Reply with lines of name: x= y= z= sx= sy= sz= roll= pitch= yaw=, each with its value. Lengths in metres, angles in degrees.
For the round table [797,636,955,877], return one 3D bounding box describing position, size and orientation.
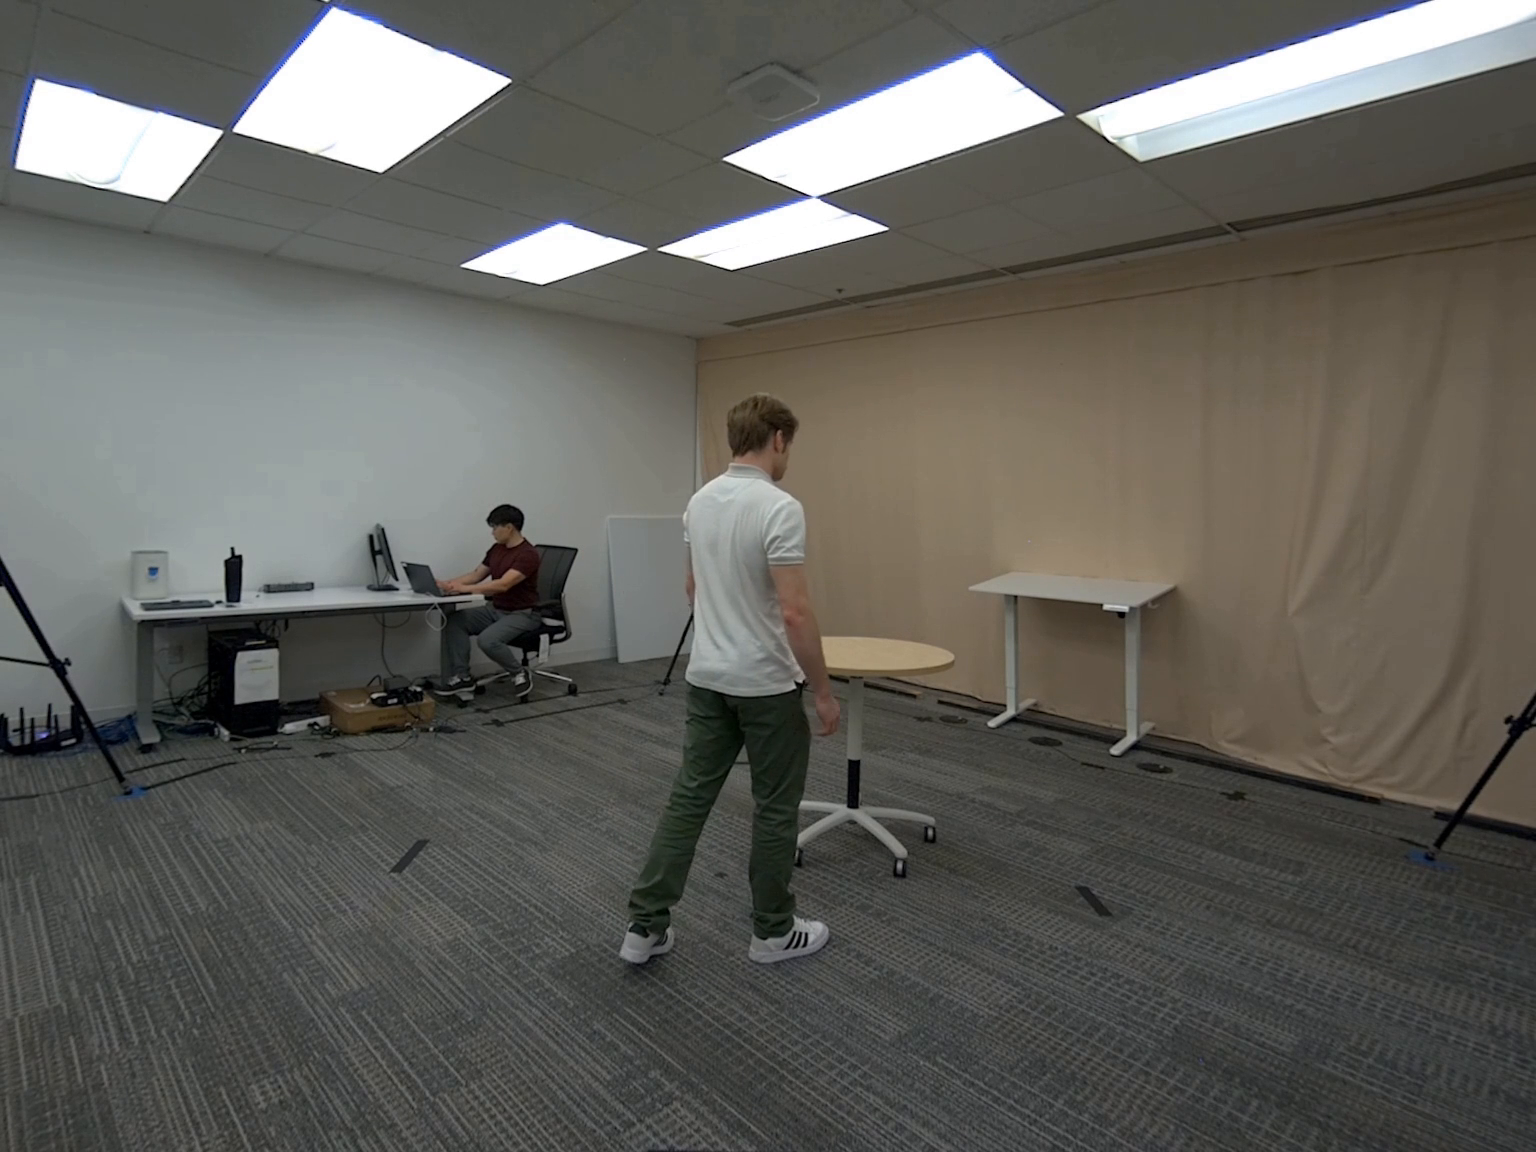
round table: x=0.346 y=0.696 z=3.413 sx=0.784 sy=0.785 sz=0.787 roll=1 pitch=3 yaw=-1
